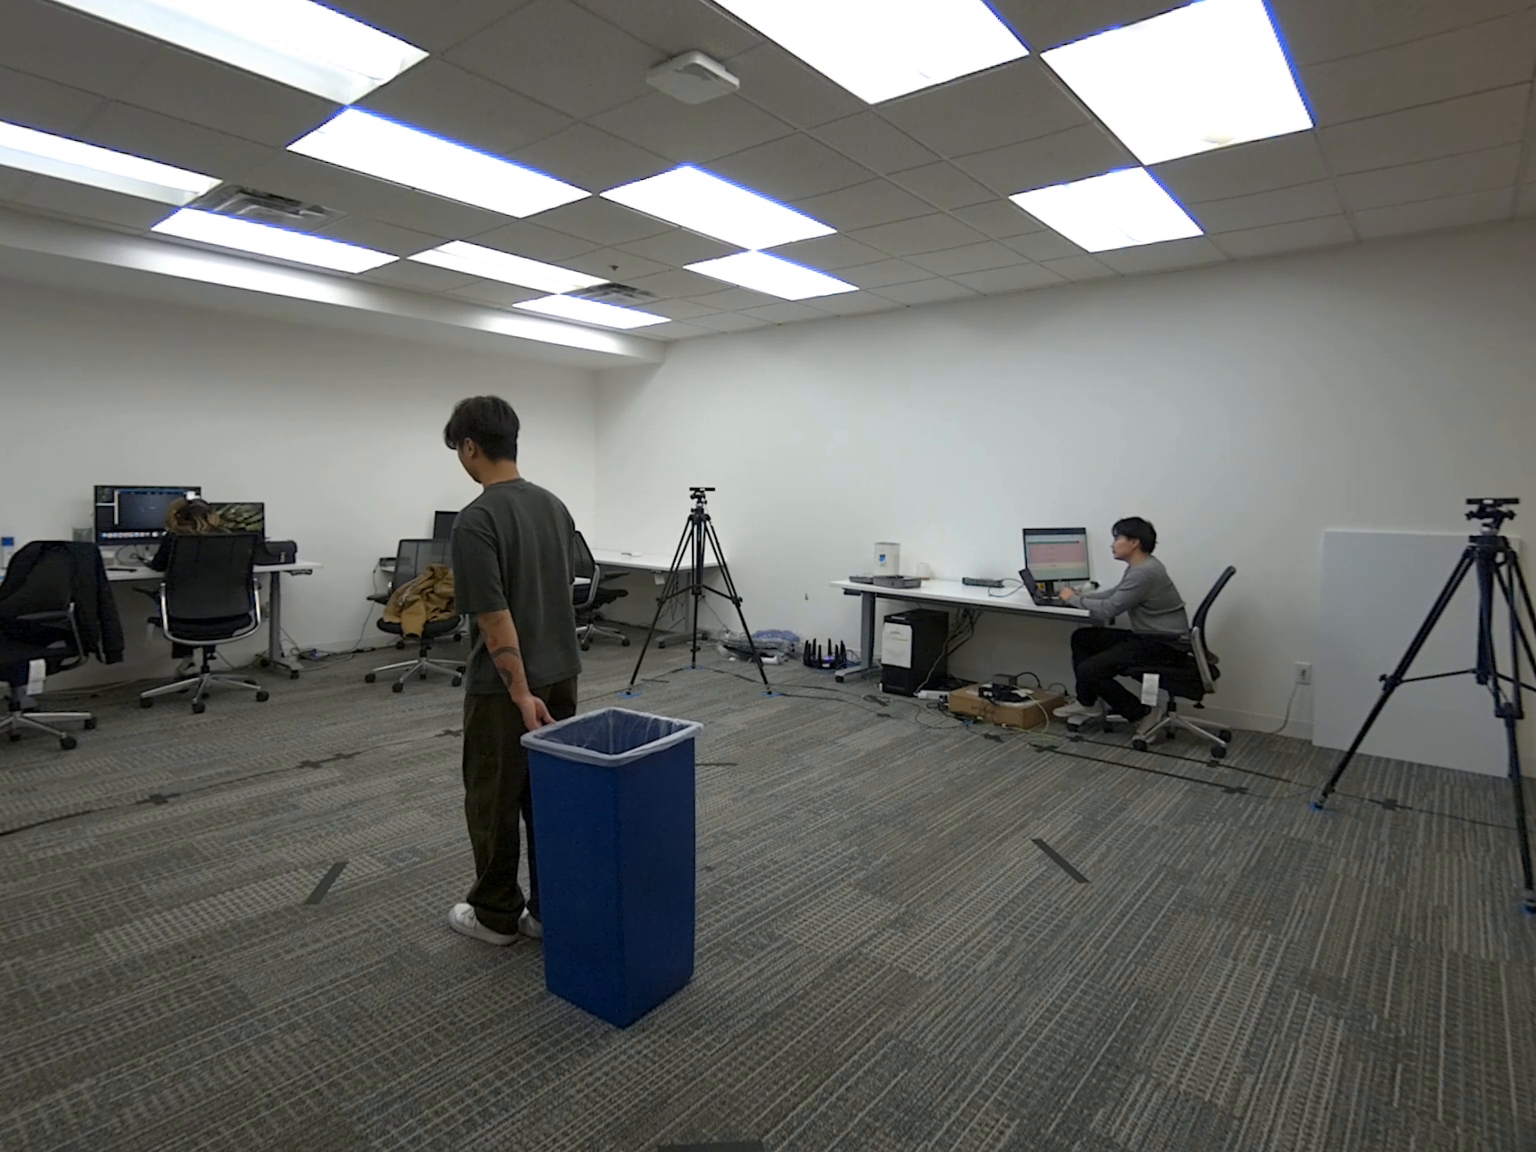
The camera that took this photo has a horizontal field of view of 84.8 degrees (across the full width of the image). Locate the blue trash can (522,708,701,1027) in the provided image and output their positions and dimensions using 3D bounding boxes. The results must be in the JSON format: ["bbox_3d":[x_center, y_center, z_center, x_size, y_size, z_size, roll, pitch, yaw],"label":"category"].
[{"bbox_3d":[-0.430,0.776,2.348,0.390,0.712,0.364,2,3,34],"label":"blue trash can"}]
